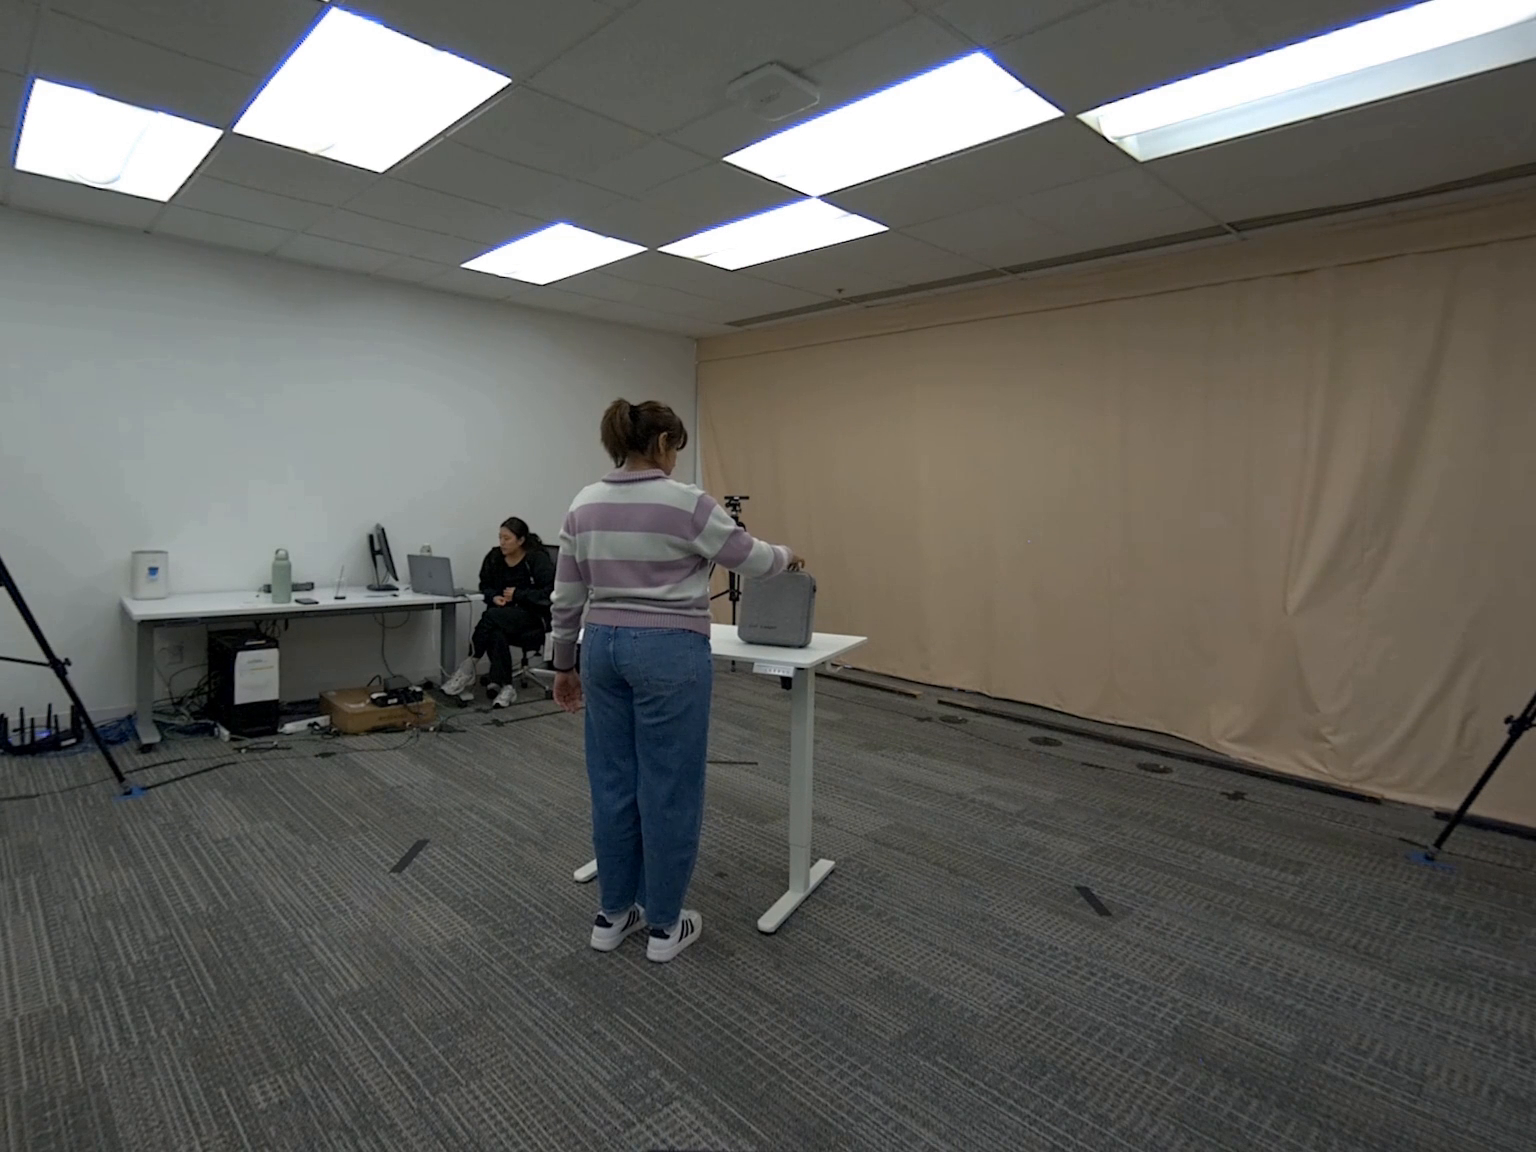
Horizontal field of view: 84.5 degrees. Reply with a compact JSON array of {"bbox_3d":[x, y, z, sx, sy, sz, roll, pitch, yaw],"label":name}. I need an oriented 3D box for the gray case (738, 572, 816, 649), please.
[{"bbox_3d":[0.022,0.108,2.919,0.262,0.262,0.102,4,-7,25],"label":"gray case"}]
